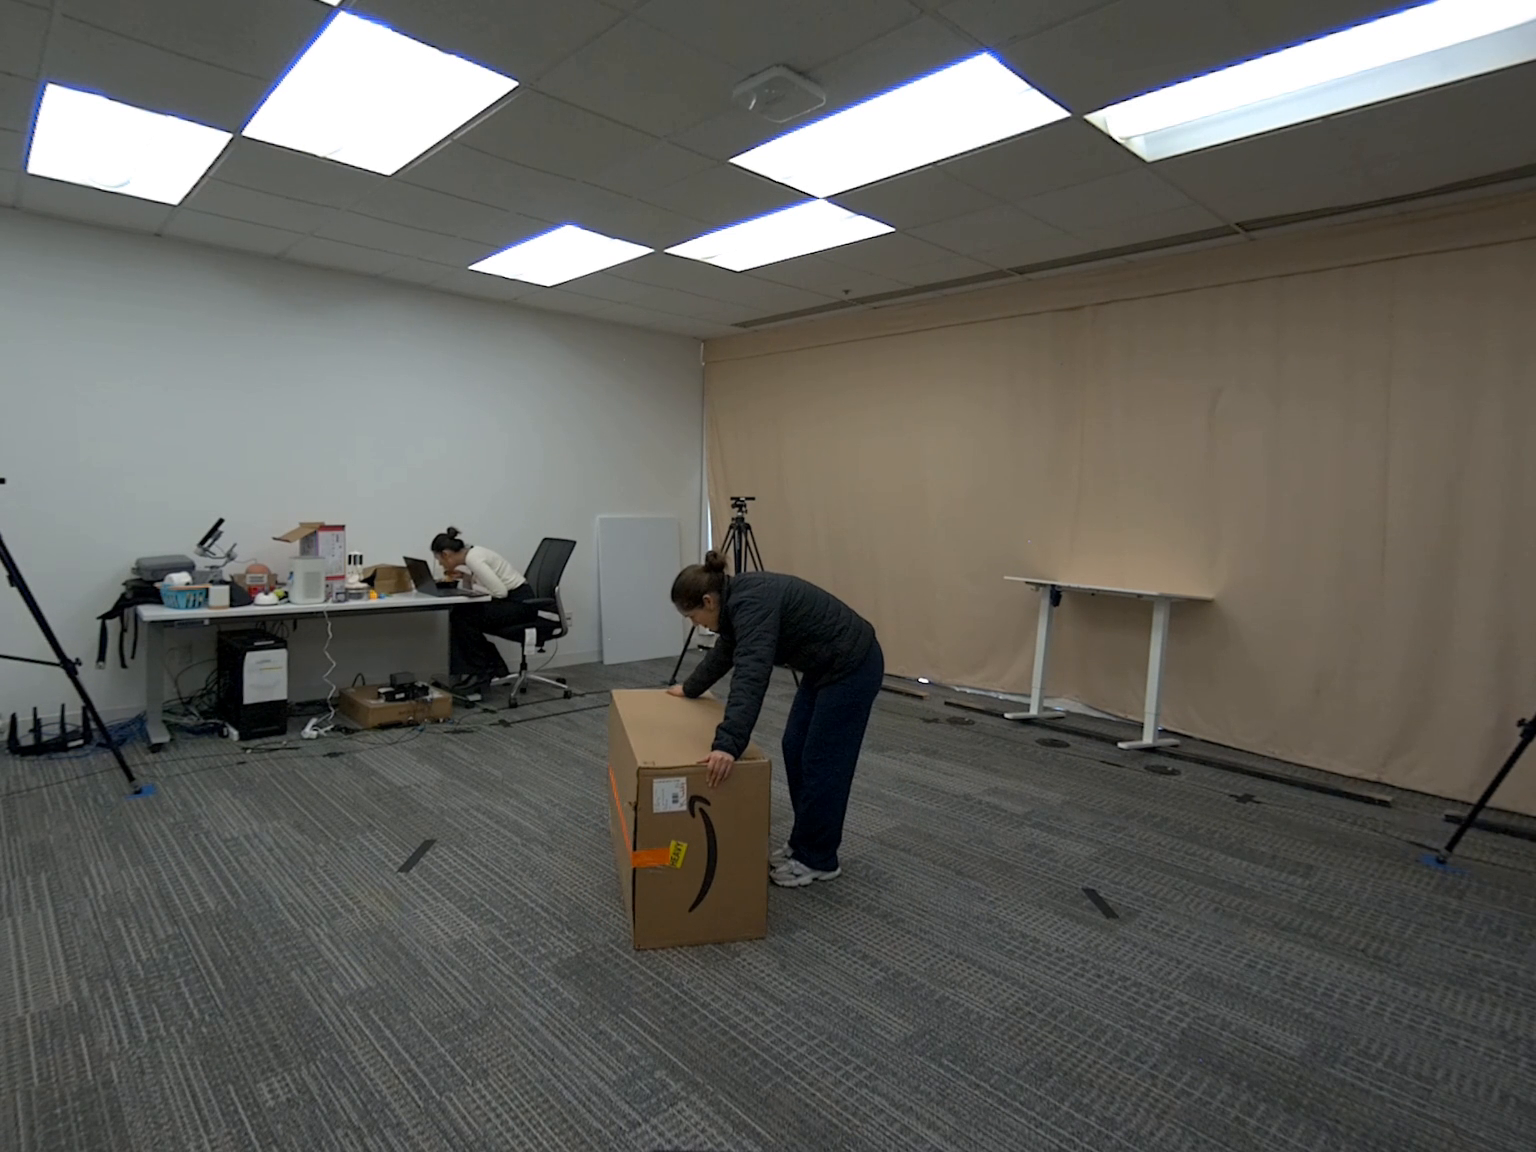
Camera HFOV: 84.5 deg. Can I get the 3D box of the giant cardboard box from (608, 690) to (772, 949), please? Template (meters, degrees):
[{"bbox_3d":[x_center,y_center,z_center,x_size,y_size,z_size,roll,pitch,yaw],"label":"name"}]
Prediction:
[{"bbox_3d":[-0.339,0.817,3.087,0.442,0.582,1.041,2,4,-15],"label":"giant cardboard box"}]
